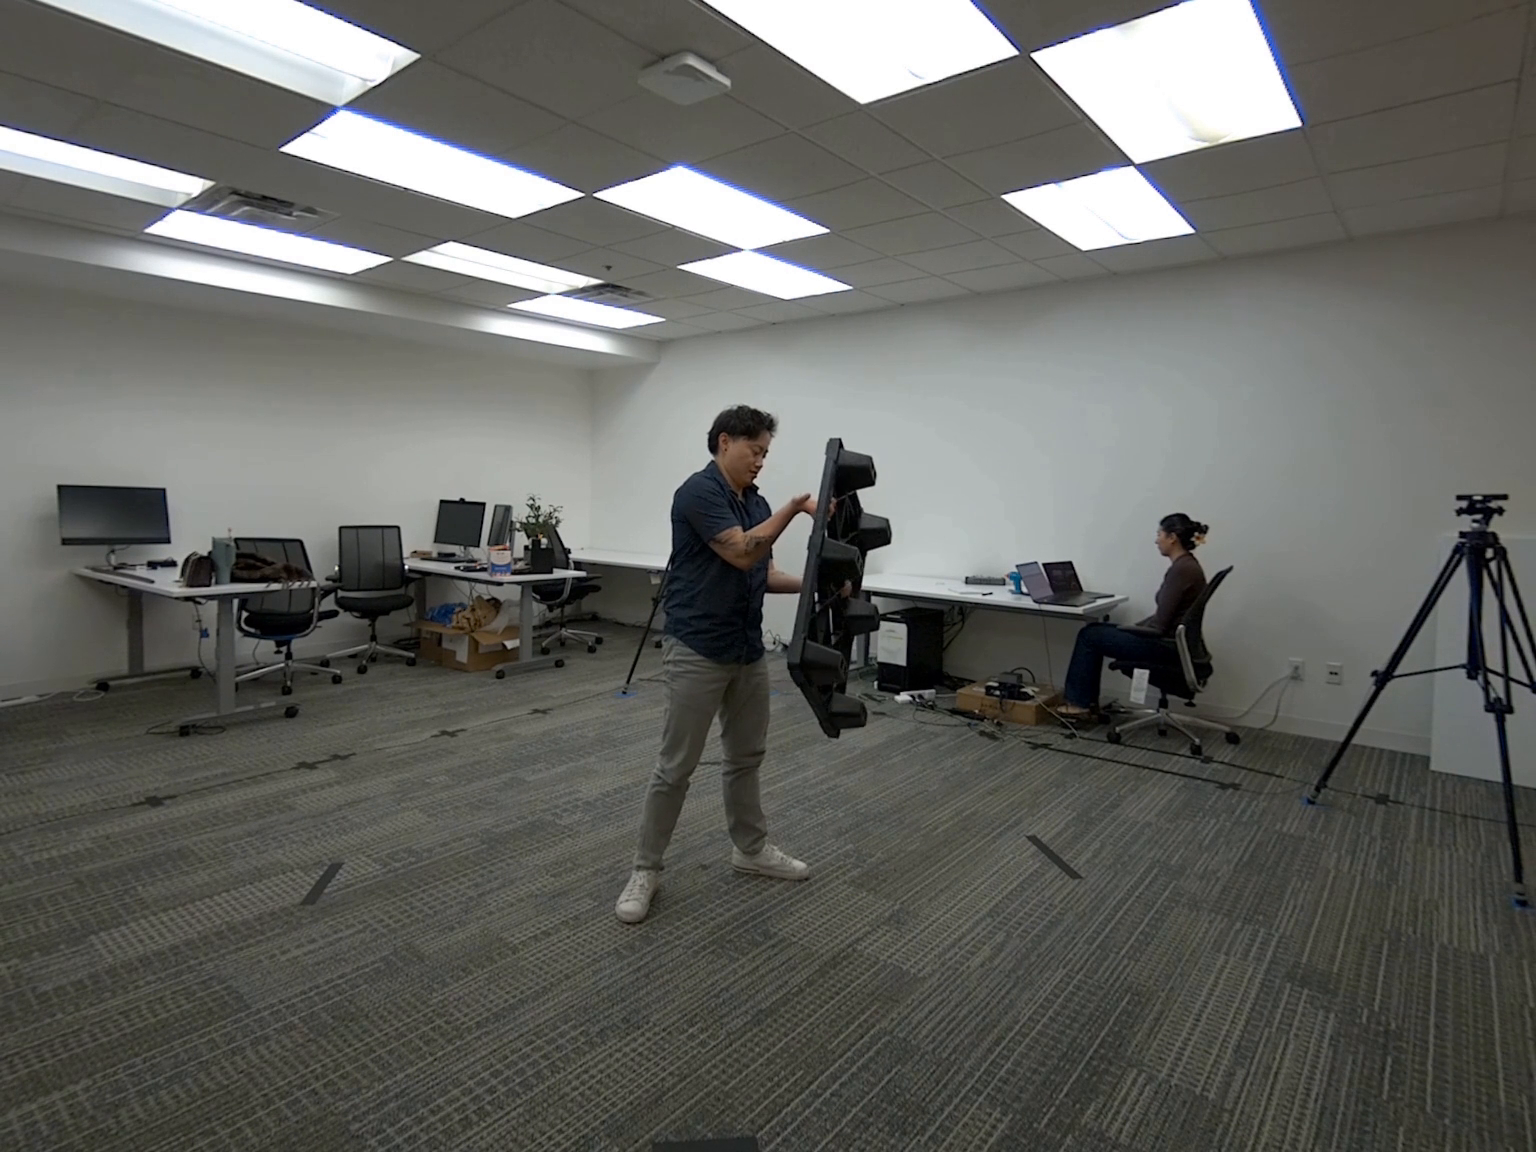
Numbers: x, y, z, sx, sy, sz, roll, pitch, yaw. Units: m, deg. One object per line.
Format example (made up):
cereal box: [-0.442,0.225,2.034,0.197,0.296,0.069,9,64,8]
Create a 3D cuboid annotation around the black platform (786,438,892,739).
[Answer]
black platform: [0.250,0.050,2.741,0.146,0.820,0.582,0,-31,18]
